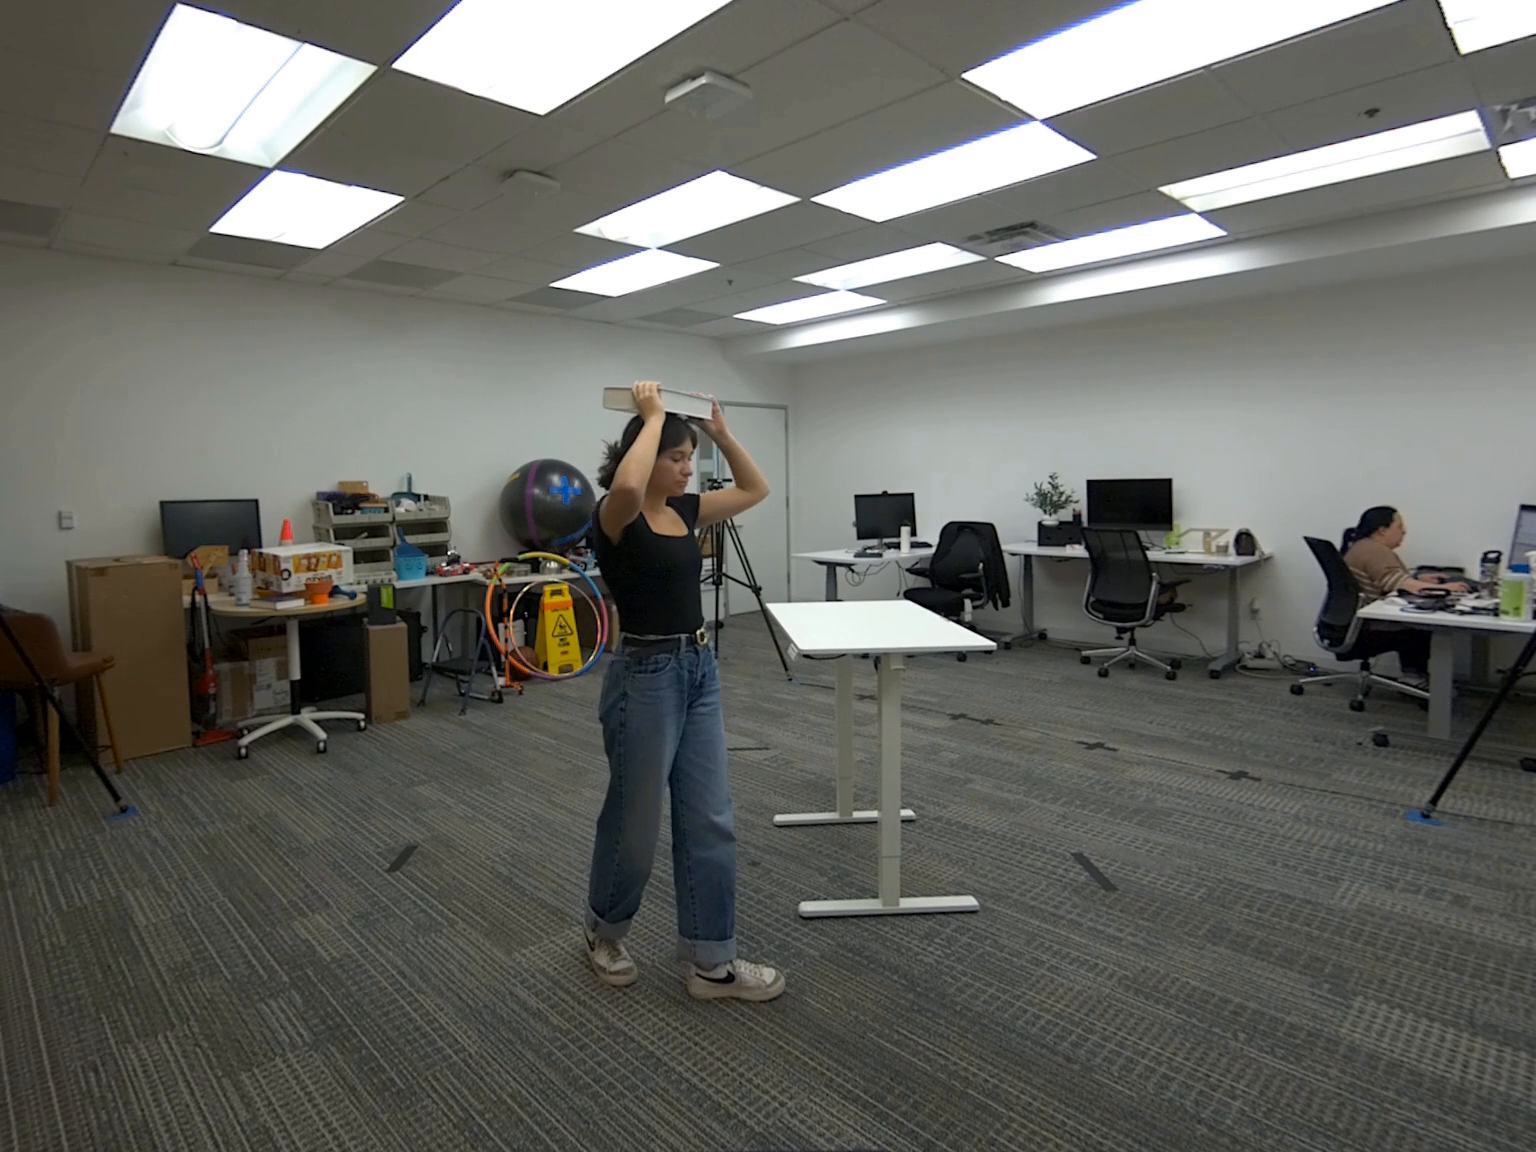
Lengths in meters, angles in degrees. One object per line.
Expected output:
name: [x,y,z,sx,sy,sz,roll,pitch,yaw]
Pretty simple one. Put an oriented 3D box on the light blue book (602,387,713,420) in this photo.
light blue book: [-0.287,-0.468,2.307,0.196,0.059,0.255,7,7,25]
